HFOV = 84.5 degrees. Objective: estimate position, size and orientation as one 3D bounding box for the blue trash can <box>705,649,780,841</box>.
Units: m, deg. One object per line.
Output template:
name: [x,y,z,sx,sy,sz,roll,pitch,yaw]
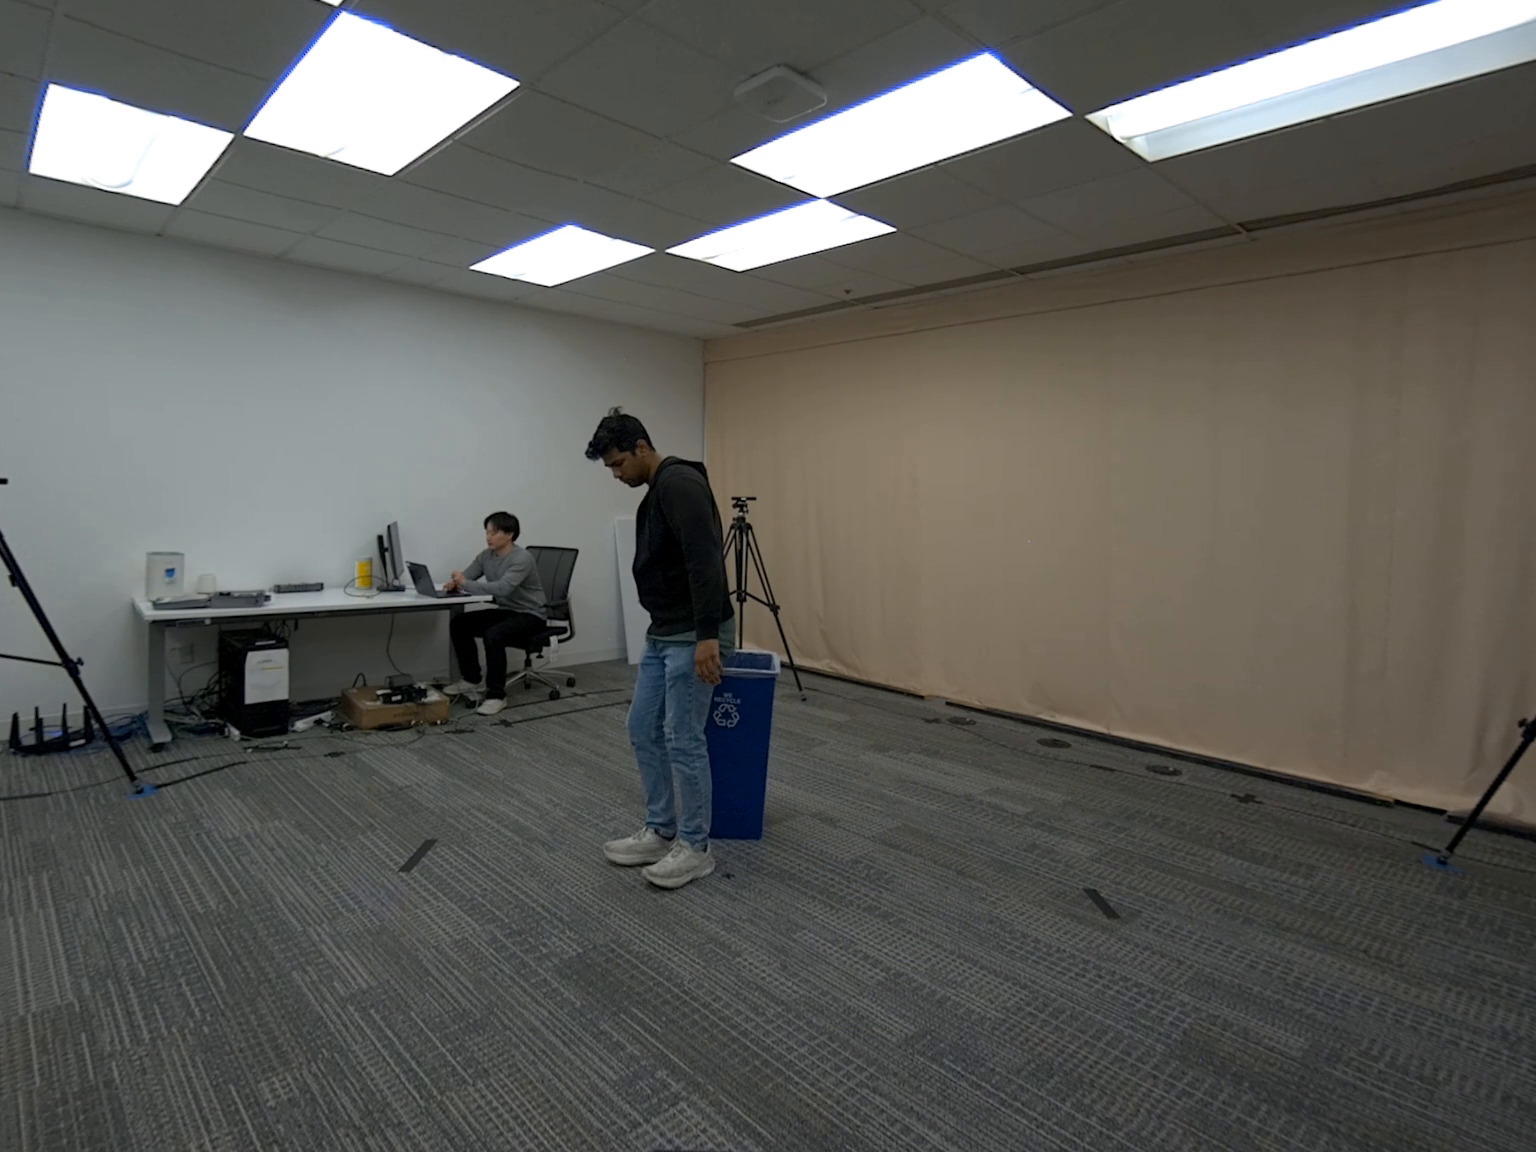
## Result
blue trash can: [-0.163,0.703,3.554,0.378,0.711,0.375,3,5,0]
